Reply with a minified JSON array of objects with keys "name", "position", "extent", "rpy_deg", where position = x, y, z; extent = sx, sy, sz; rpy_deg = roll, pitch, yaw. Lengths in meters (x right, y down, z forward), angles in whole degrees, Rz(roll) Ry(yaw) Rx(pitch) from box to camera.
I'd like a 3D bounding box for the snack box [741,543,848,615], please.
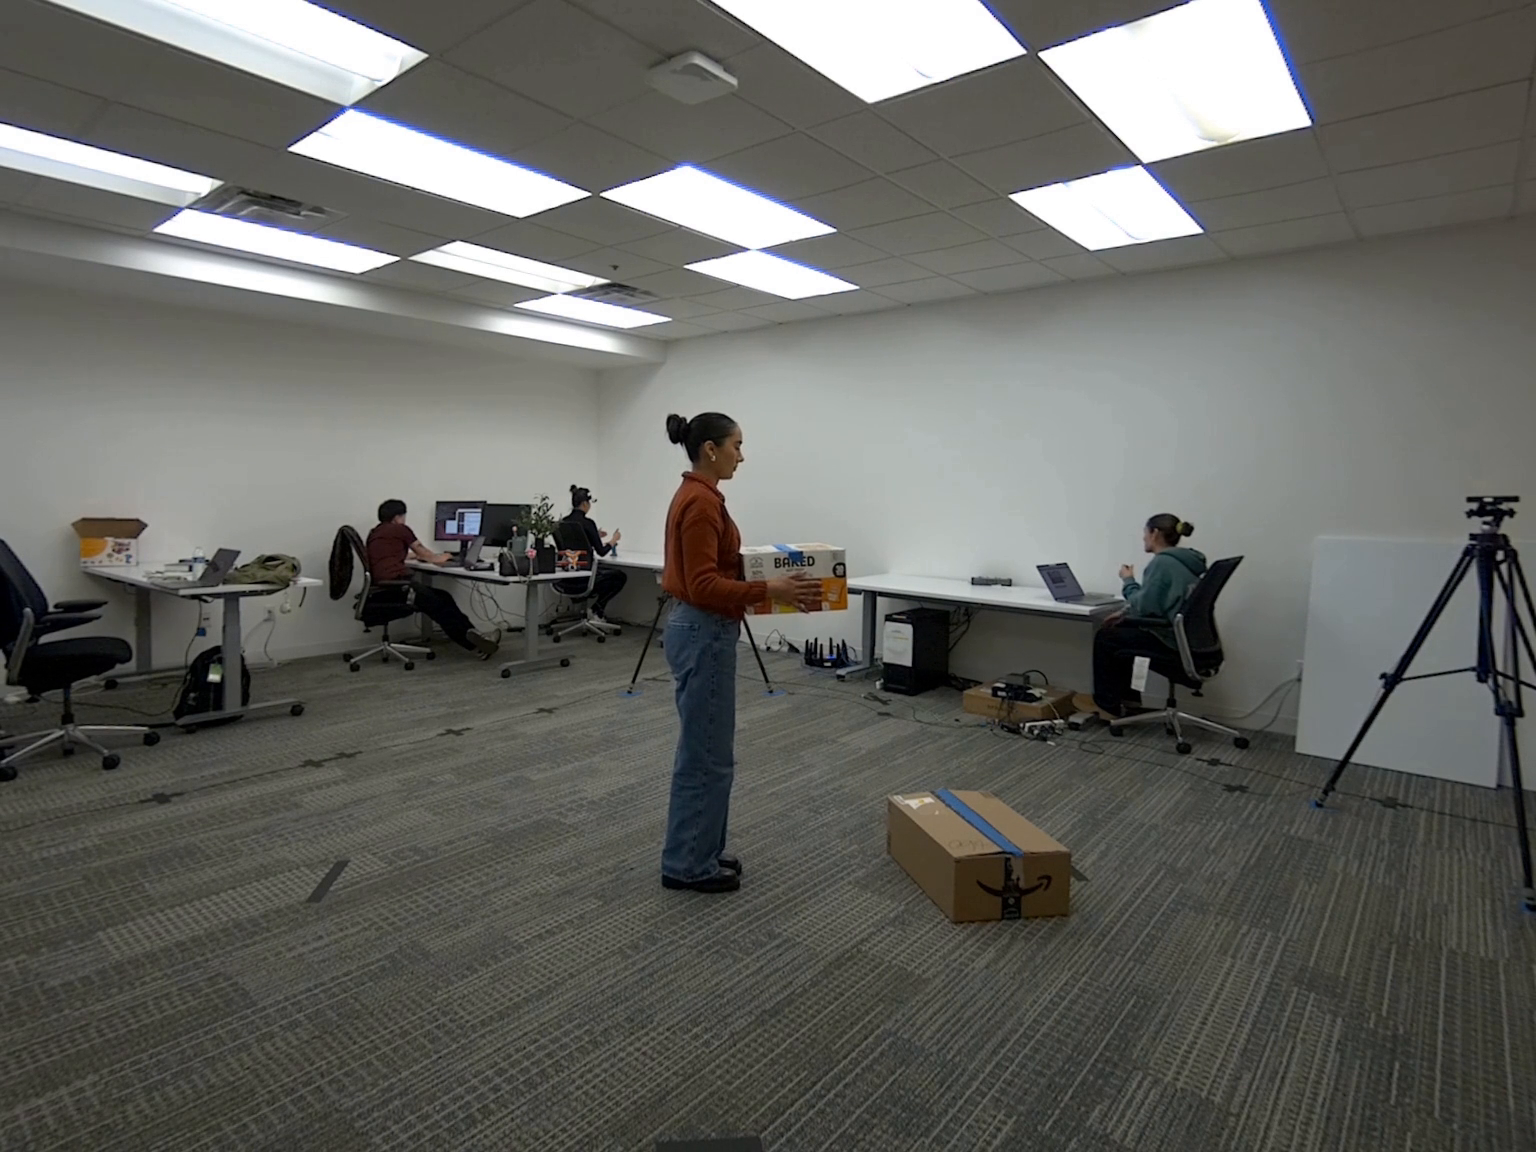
[{"name":"snack box","position":[0.053,0.003,2.980],"extent":[0.338,0.205,0.409],"rpy_deg":[-3,5,-7]}]
